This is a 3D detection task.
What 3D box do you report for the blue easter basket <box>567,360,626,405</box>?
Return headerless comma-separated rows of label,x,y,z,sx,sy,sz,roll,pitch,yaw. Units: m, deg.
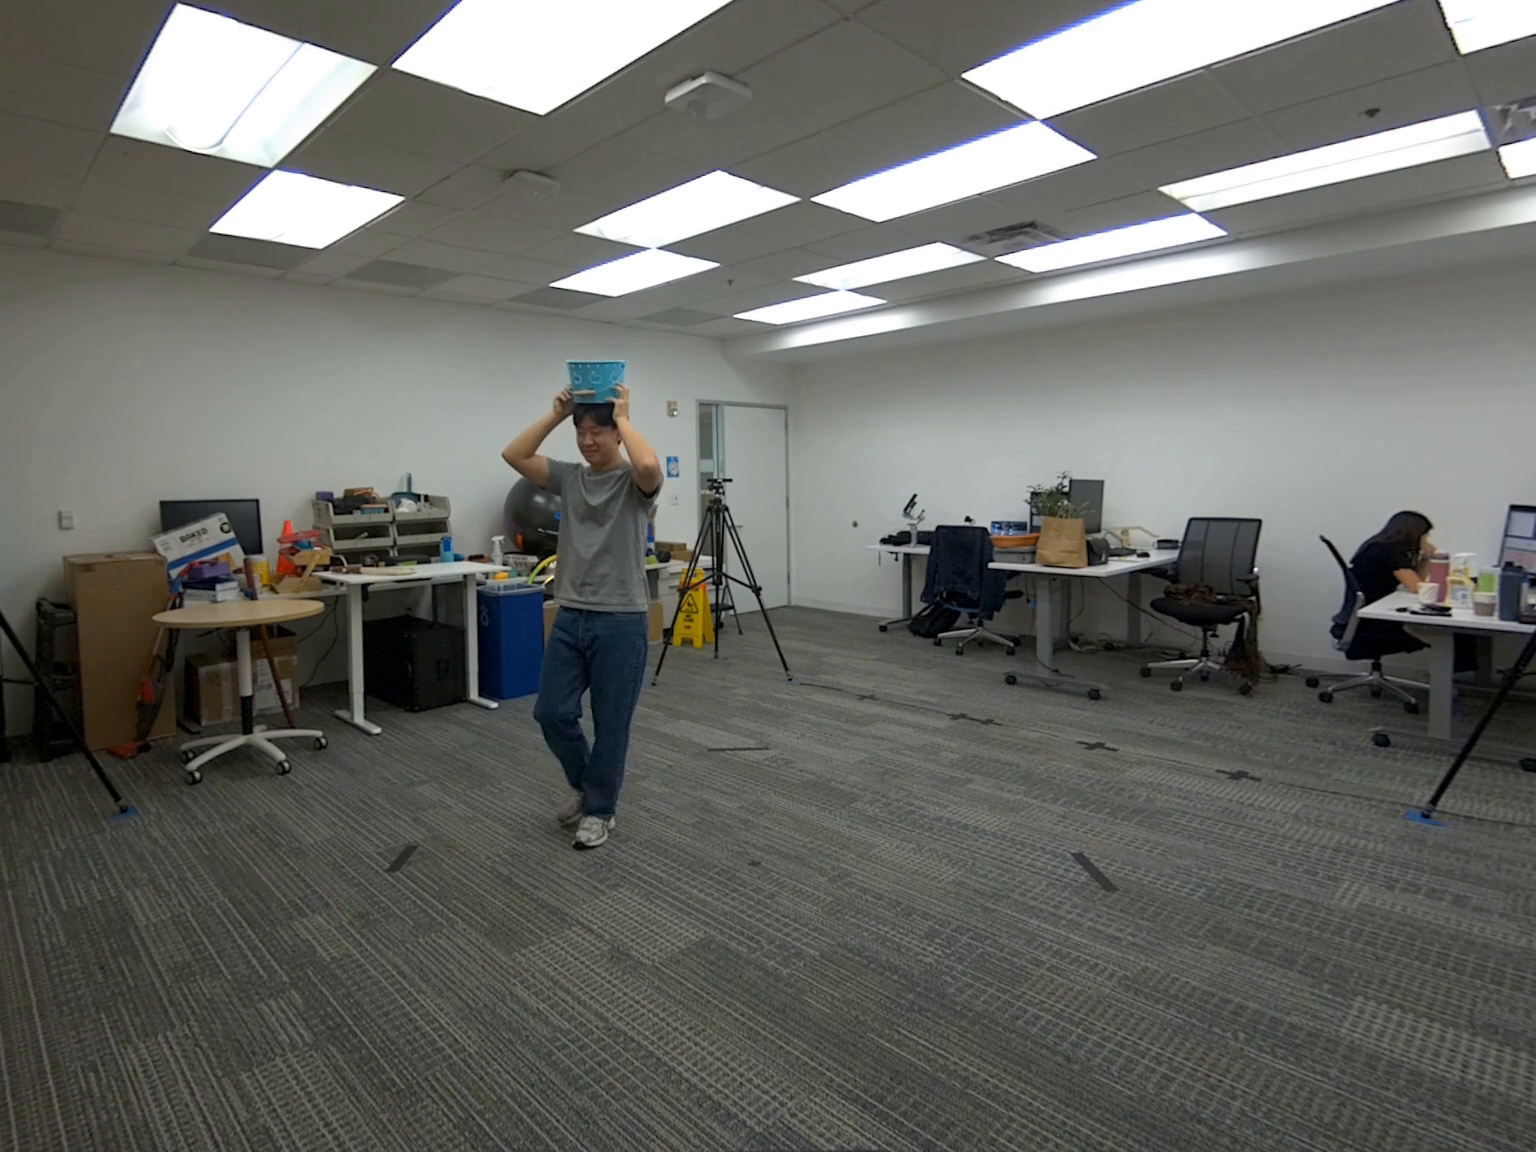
blue easter basket,-0.661,-0.740,3.263,0.243,0.154,0.247,-1,14,-1
